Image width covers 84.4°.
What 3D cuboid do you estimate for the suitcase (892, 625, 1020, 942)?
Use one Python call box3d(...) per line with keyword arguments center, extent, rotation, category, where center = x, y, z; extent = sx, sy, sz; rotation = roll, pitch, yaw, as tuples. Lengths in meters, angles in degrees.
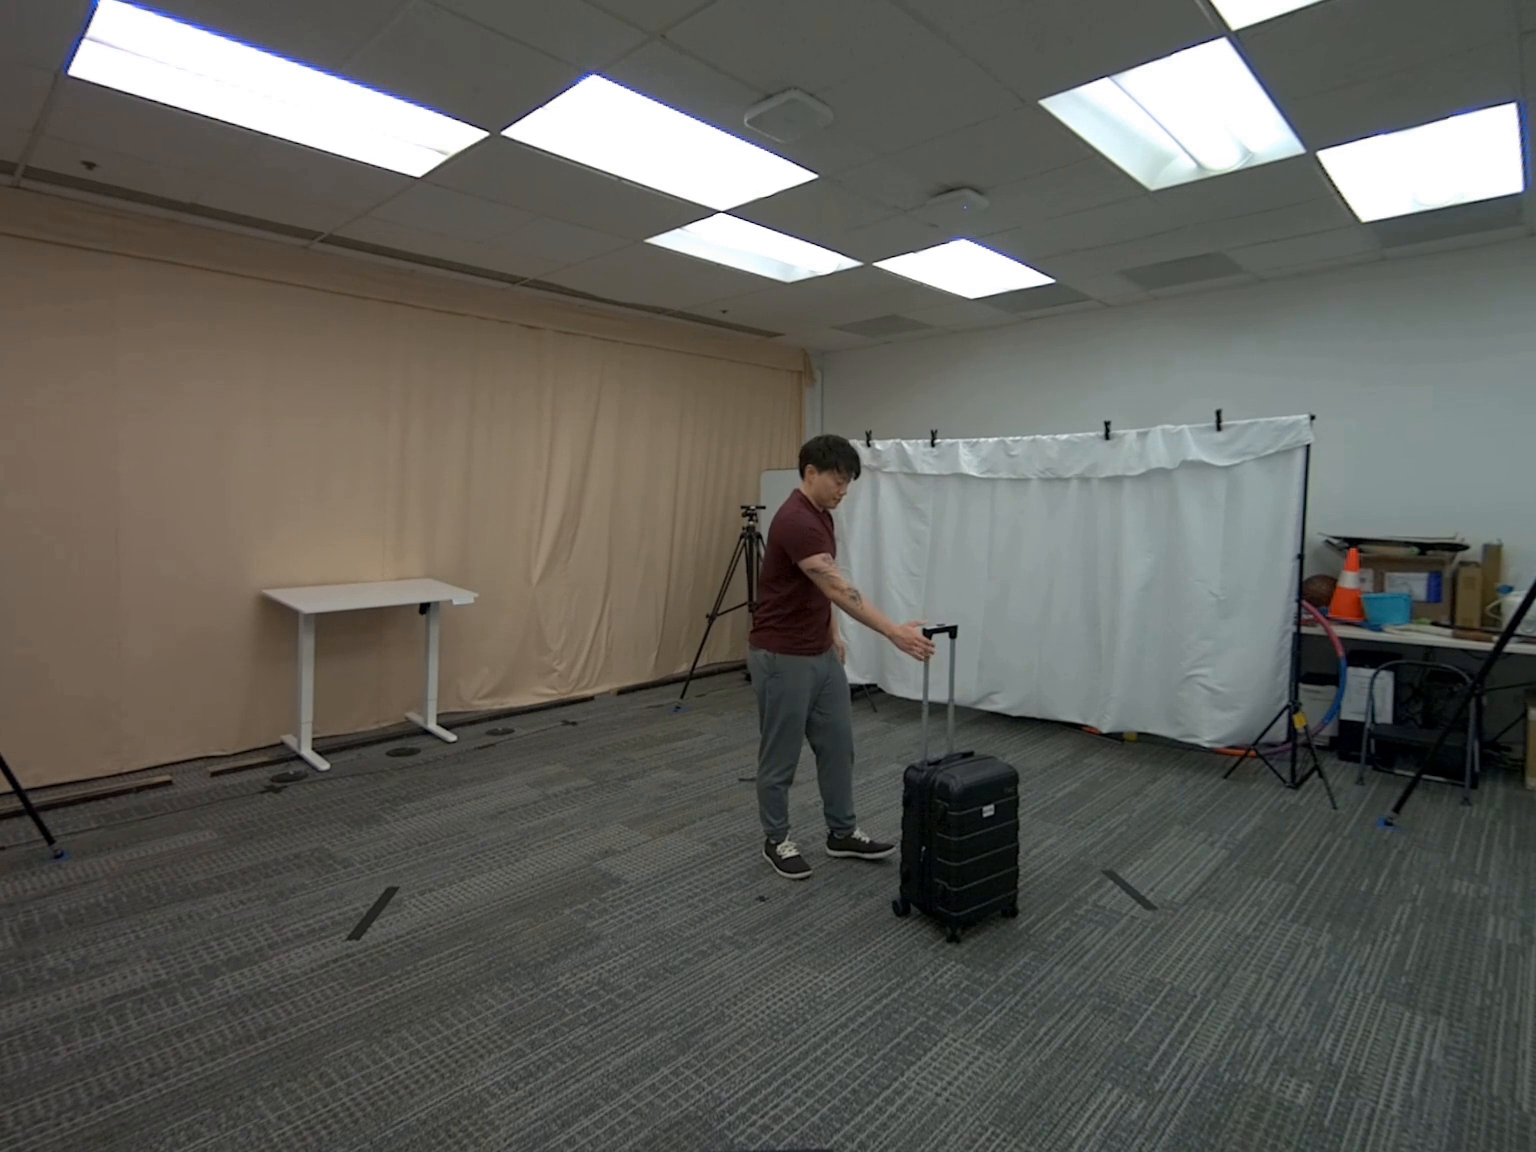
box3d(center=(0.657, 0.682, 2.805), extent=(0.373, 0.975, 0.265), rotation=(-2, 7, -32), category="suitcase")
